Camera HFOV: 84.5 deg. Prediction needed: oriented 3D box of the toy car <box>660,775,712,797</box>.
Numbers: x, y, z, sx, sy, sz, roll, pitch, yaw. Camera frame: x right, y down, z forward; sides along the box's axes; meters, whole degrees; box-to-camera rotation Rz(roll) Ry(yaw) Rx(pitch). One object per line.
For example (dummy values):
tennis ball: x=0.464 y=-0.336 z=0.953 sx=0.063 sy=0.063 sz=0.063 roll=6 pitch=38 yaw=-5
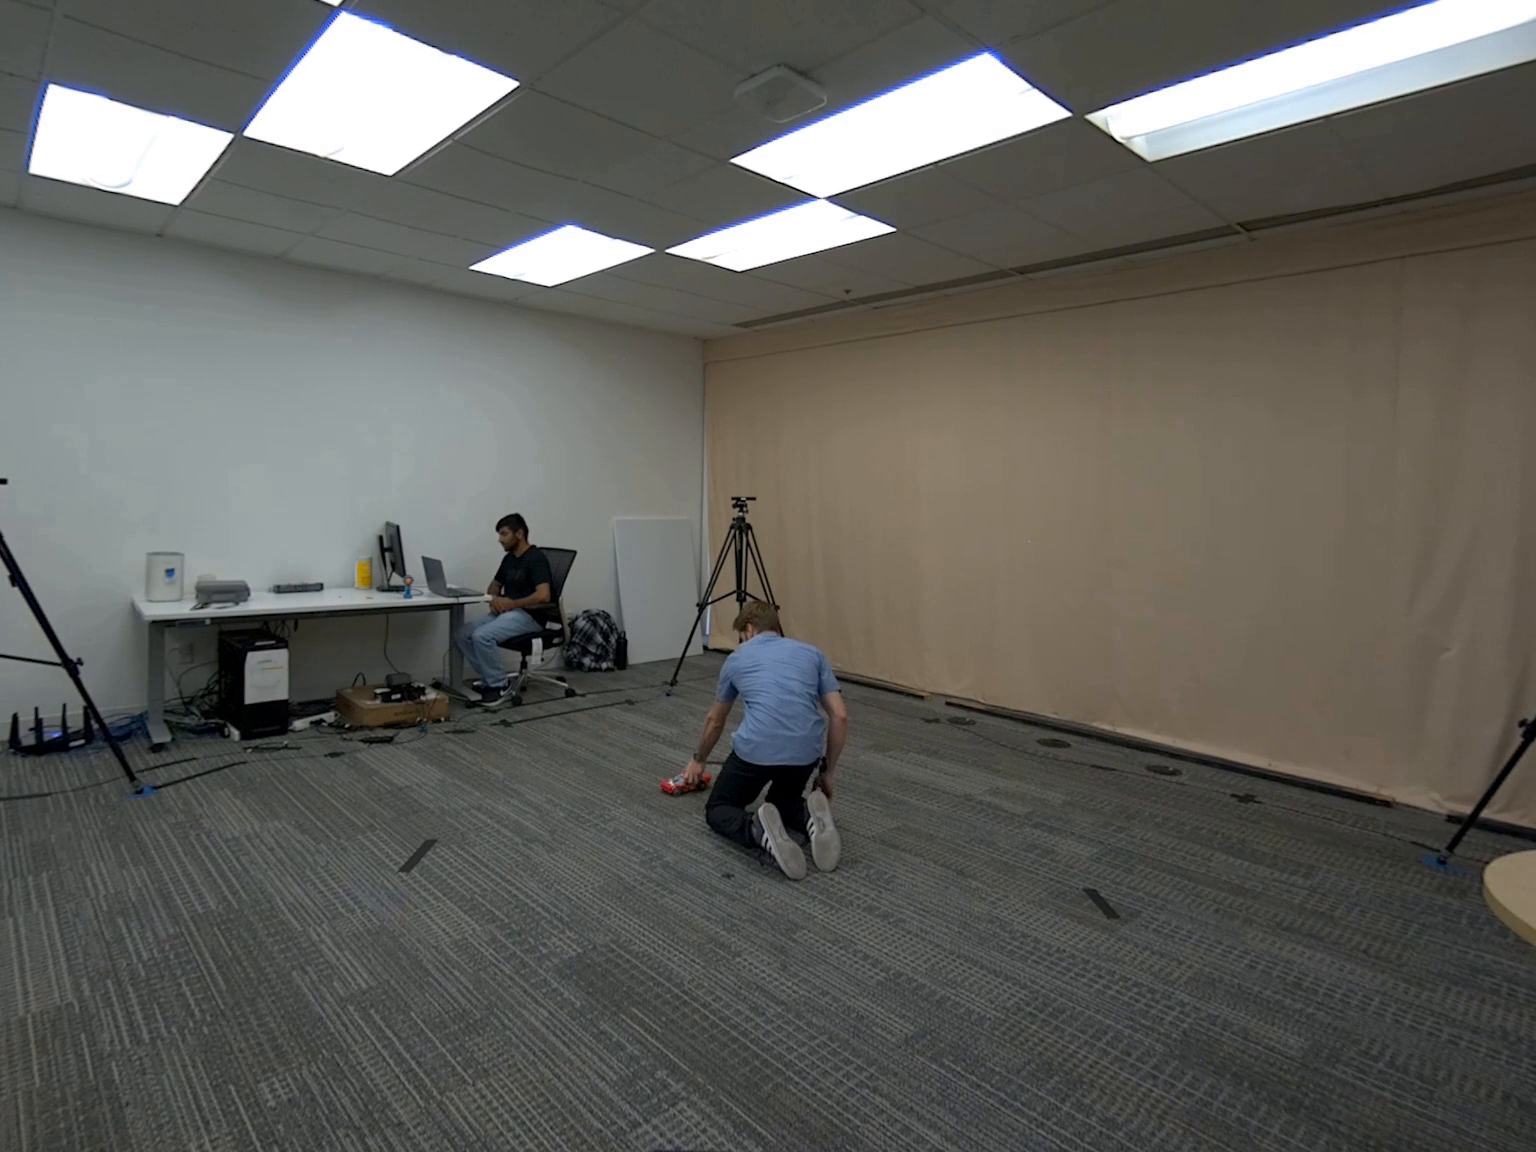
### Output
toy car: x=-0.399 y=0.989 z=4.026 sx=0.250 sy=0.082 sz=0.133 roll=-15 pitch=14 yaw=-37
